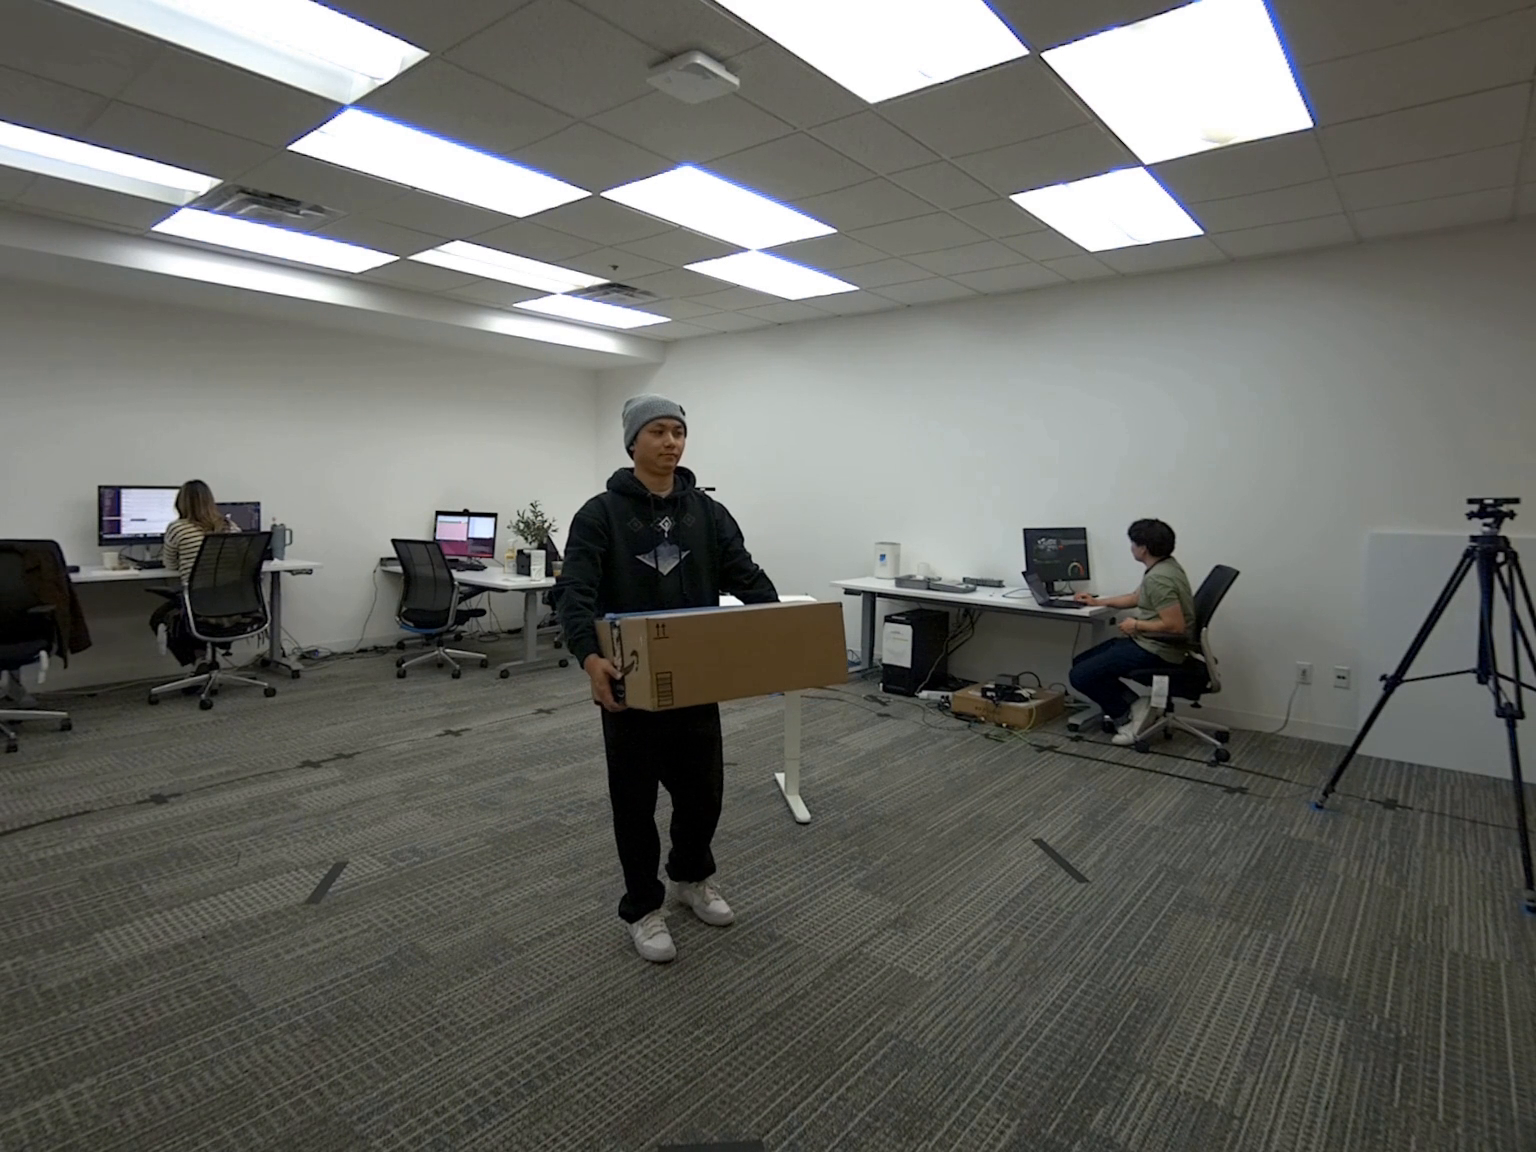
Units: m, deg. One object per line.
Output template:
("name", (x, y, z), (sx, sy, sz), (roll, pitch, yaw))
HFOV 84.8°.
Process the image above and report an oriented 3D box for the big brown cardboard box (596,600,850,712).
("big brown cardboard box", (-0.146, 0.198, 2.255), (0.574, 0.234, 0.427), (-2, -3, -30))
